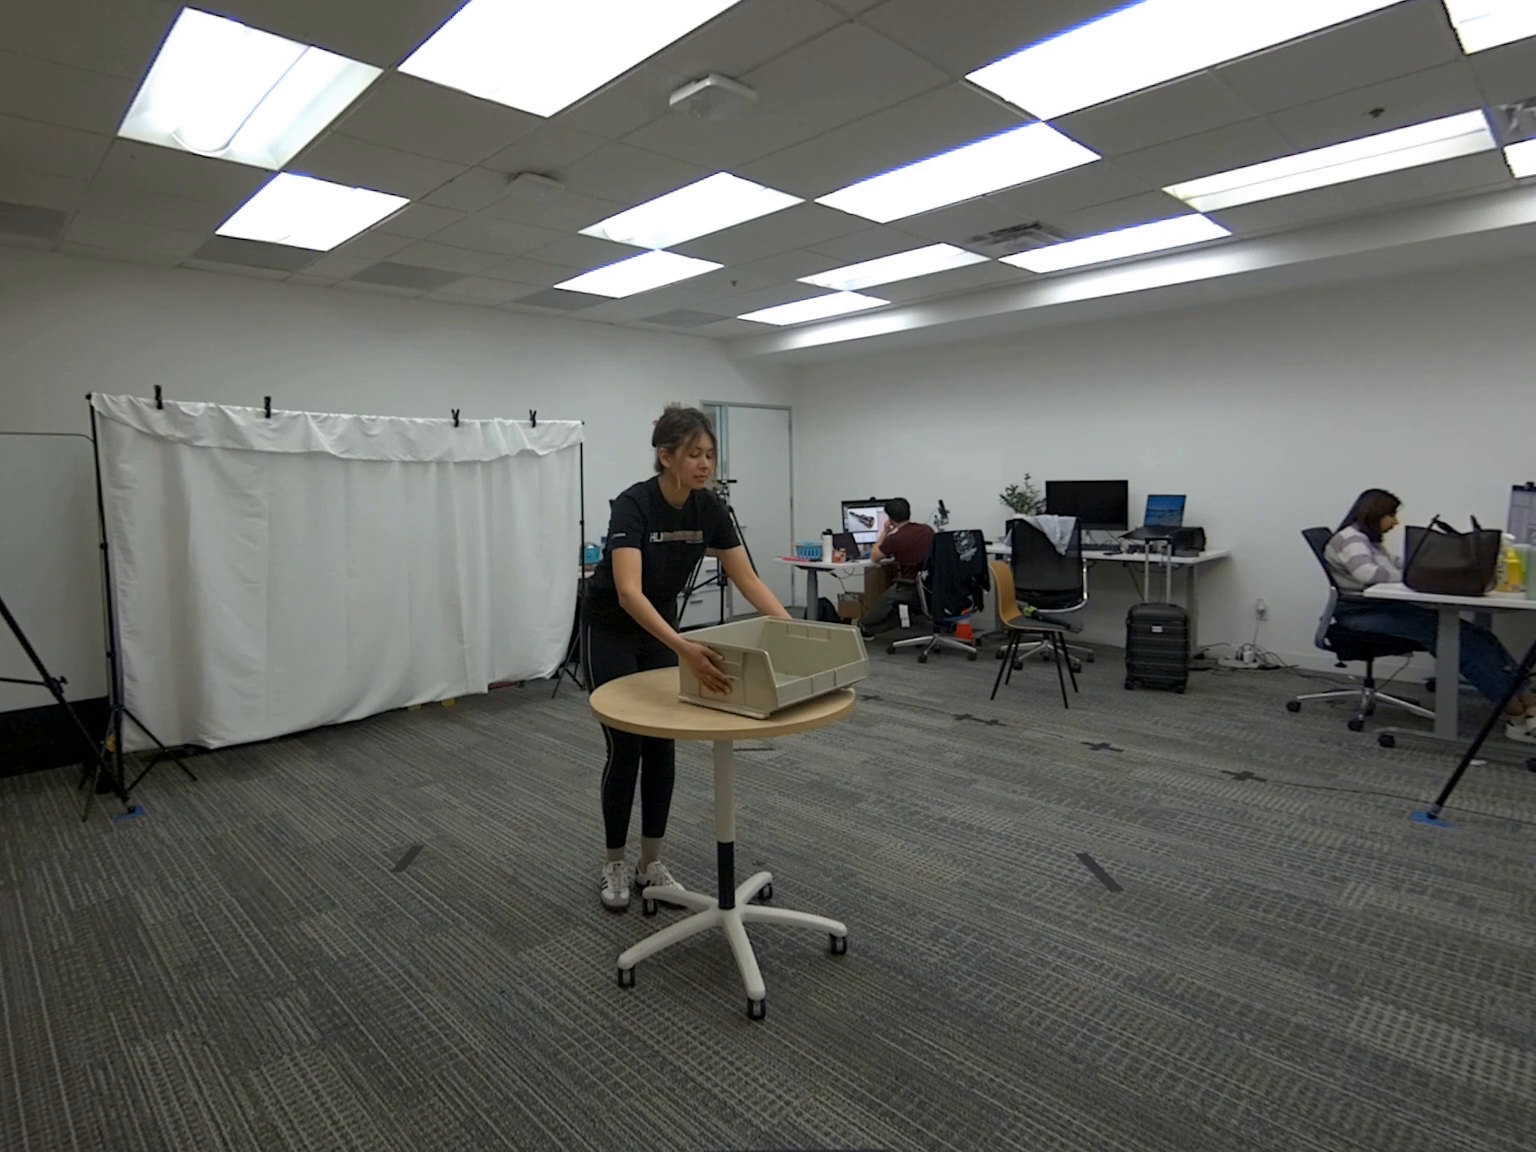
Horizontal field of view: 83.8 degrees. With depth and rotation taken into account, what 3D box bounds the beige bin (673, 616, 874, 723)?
[{"bbox_3d":[0.016,0.243,2.405,0.388,0.188,0.412,-1,6,38],"label":"beige bin"}]
